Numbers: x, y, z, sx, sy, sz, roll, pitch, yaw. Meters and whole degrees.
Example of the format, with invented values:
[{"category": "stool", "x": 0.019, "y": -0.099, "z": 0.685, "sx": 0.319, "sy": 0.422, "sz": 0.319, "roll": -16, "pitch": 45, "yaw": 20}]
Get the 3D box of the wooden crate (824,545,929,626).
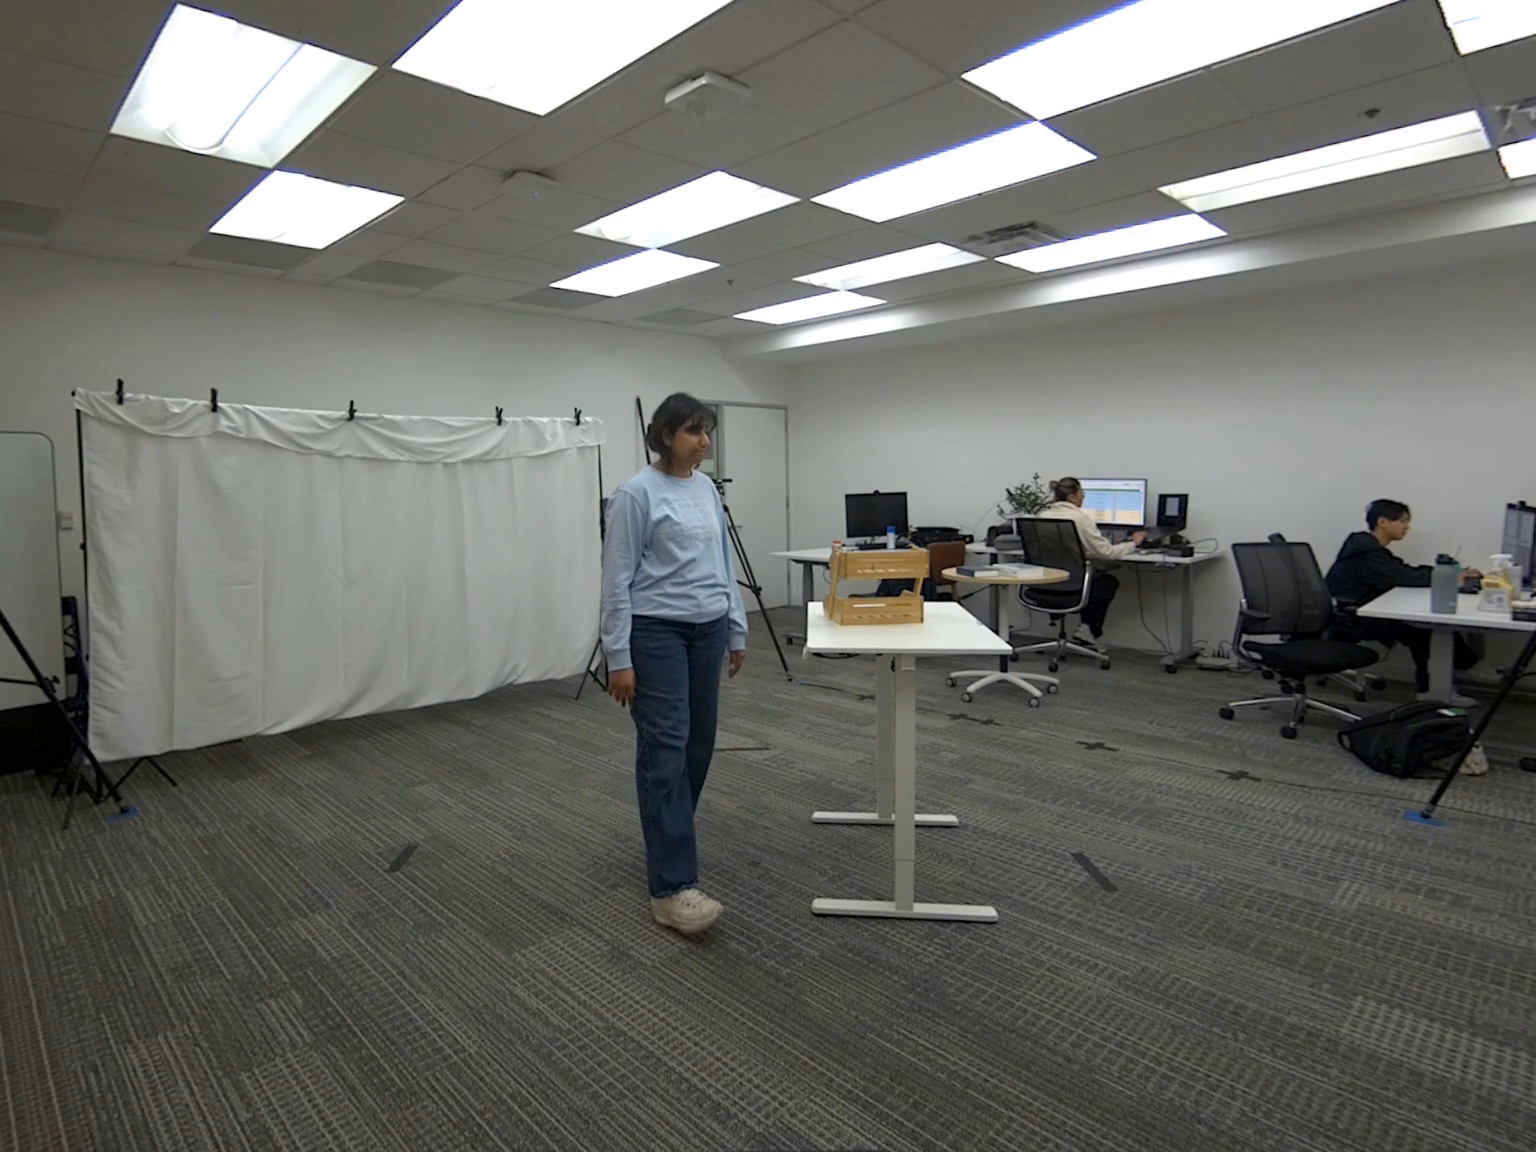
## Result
[{"category": "wooden crate", "x": 0.381, "y": 0.023, "z": 3.076, "sx": 0.322, "sy": 0.272, "sz": 0.306, "roll": -2, "pitch": 7, "yaw": -9}]
